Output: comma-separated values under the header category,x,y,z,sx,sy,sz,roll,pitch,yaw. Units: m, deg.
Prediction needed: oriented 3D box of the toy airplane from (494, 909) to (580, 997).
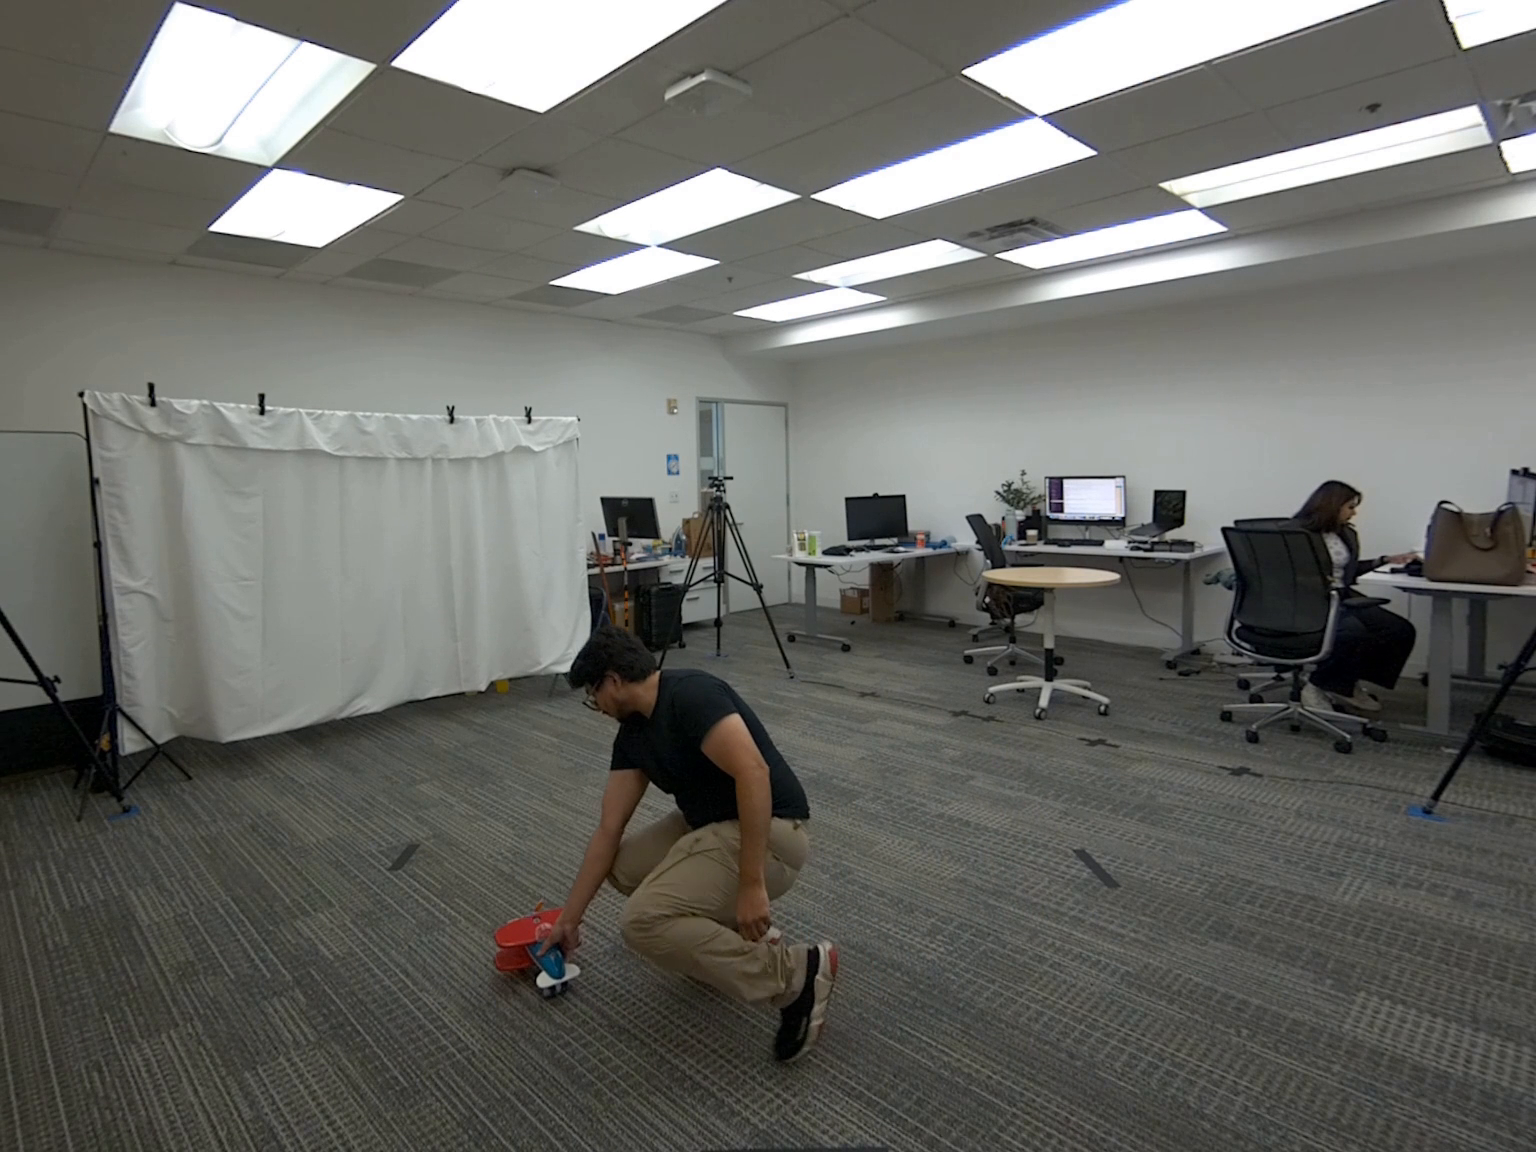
category,x,y,z,sx,sy,sz,roll,pitch,yaw
toy airplane,-0.614,1.061,2.417,0.265,0.156,0.246,1,6,27
